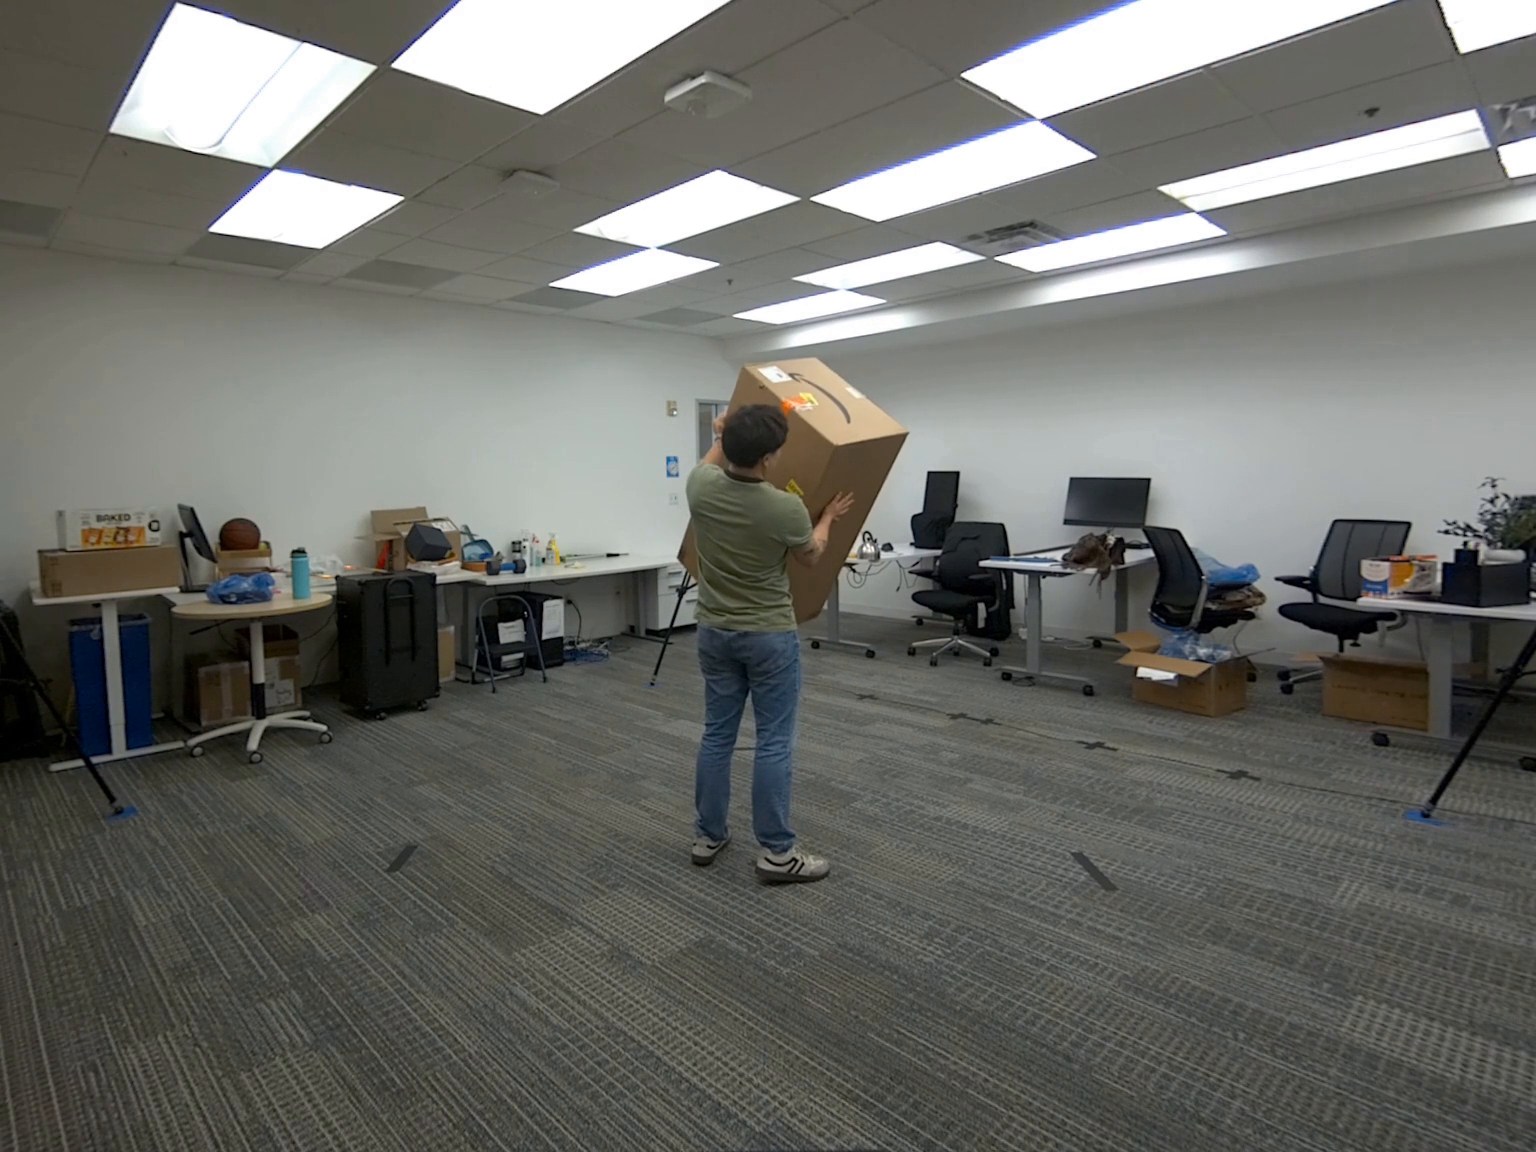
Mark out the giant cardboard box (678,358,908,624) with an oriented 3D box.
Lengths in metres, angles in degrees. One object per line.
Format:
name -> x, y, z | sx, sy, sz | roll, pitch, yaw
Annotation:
giant cardboard box -> 0.061, -0.322, 3.627 | 0.417, 1.011, 0.598 | -15, 50, -40
